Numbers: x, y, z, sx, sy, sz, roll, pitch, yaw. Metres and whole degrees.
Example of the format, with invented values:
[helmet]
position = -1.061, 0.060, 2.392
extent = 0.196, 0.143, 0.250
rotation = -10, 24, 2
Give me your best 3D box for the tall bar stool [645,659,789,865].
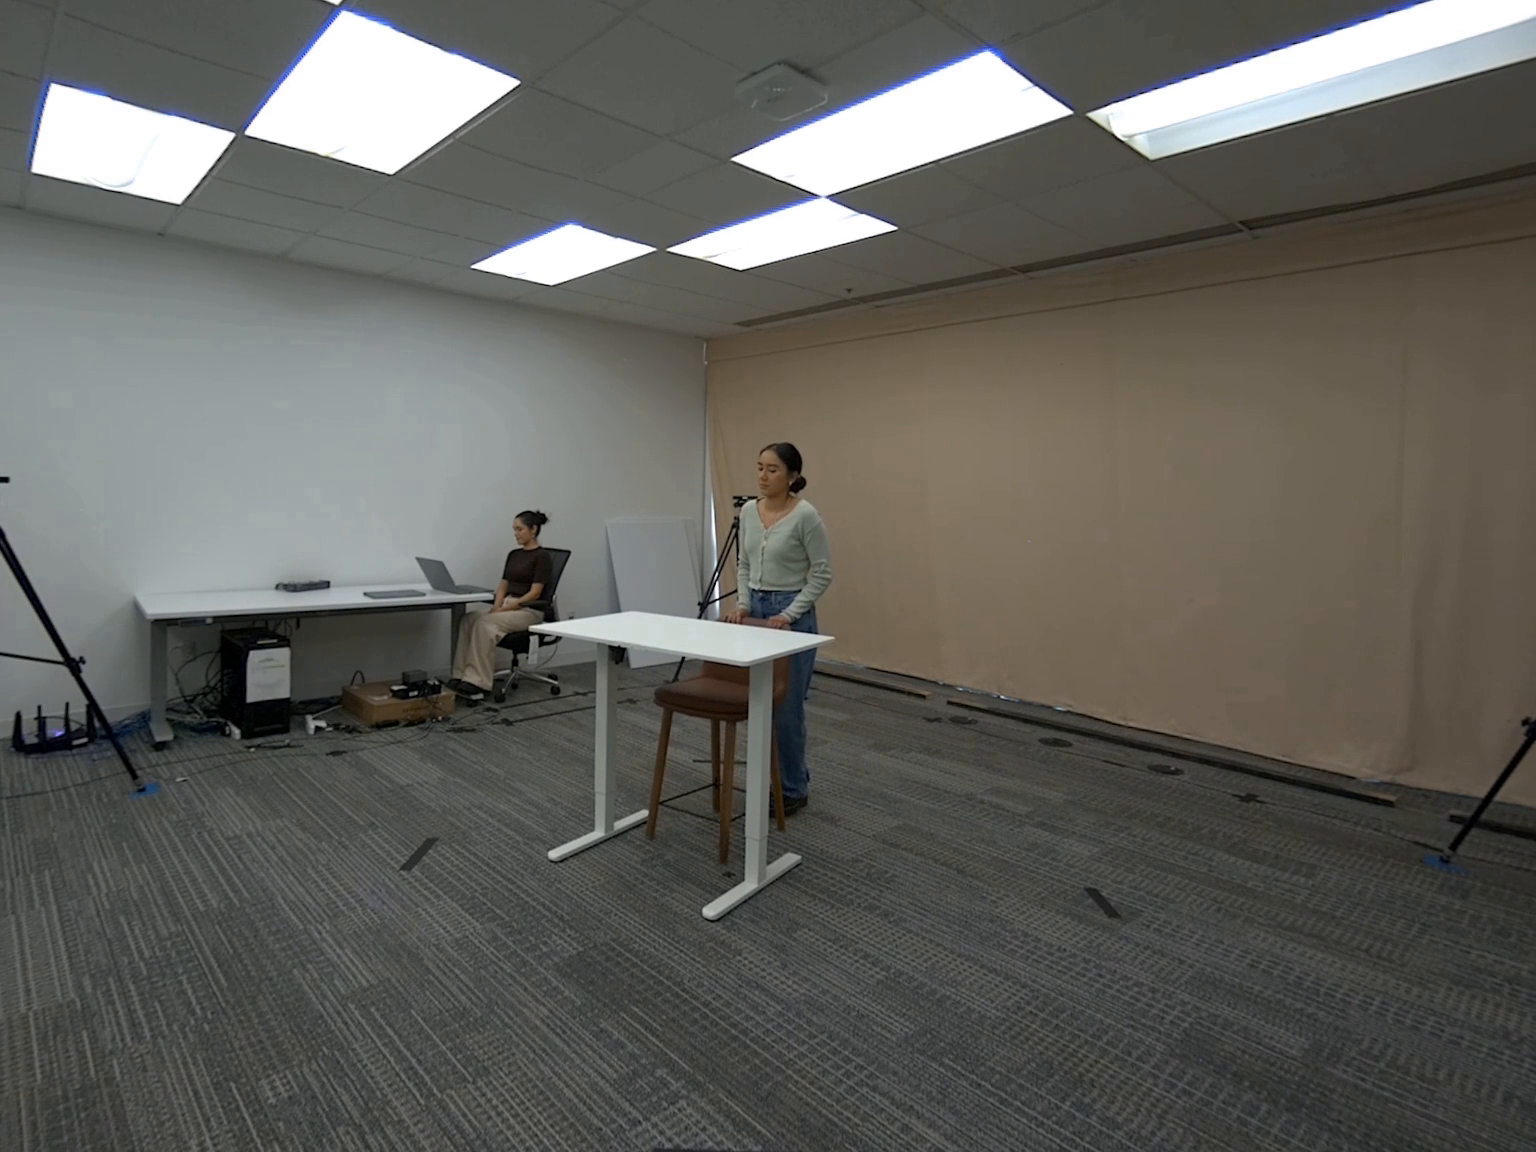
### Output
[tall bar stool]
position = -0.195, 0.636, 3.467
extent = 0.467, 0.889, 0.457
rotation = 3, 1, 36
